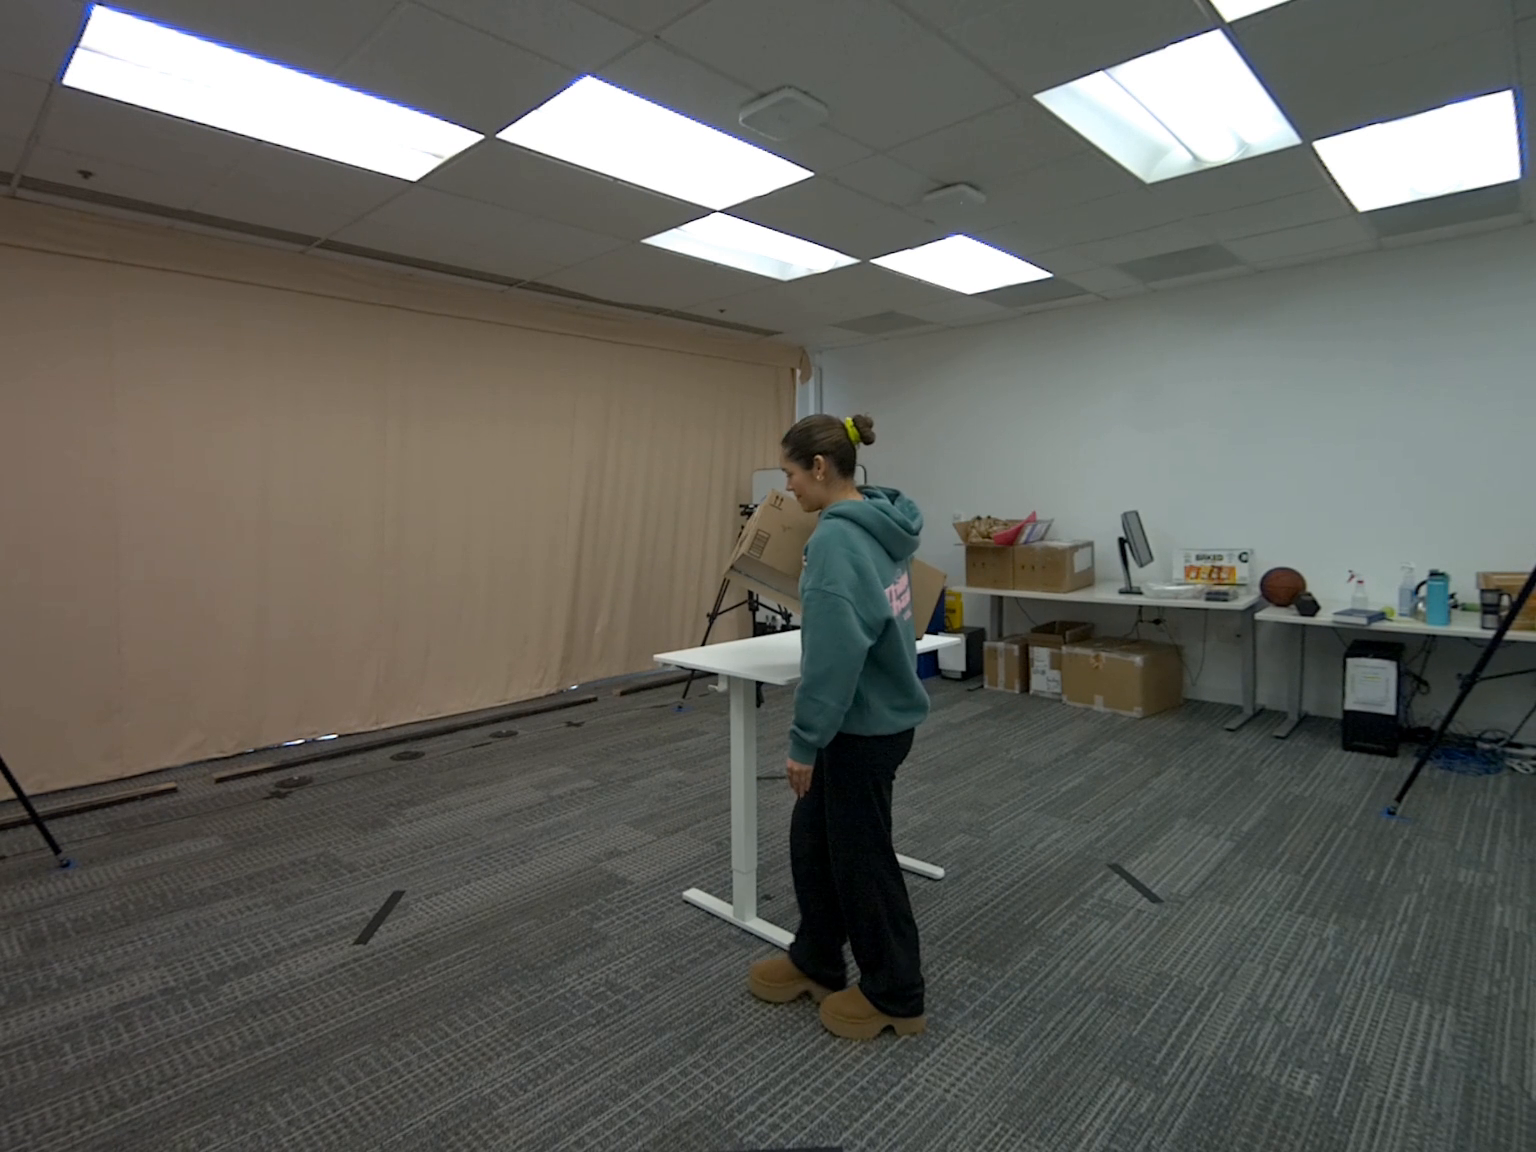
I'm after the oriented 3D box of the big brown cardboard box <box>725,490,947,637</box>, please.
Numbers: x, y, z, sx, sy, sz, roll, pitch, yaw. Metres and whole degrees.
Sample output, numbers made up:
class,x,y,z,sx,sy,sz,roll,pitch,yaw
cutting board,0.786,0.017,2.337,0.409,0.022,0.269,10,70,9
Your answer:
class,x,y,z,sx,sy,sz,roll,pitch,yaw
big brown cardboard box,0.189,0.004,2.577,0.586,0.233,0.419,26,-13,-4
